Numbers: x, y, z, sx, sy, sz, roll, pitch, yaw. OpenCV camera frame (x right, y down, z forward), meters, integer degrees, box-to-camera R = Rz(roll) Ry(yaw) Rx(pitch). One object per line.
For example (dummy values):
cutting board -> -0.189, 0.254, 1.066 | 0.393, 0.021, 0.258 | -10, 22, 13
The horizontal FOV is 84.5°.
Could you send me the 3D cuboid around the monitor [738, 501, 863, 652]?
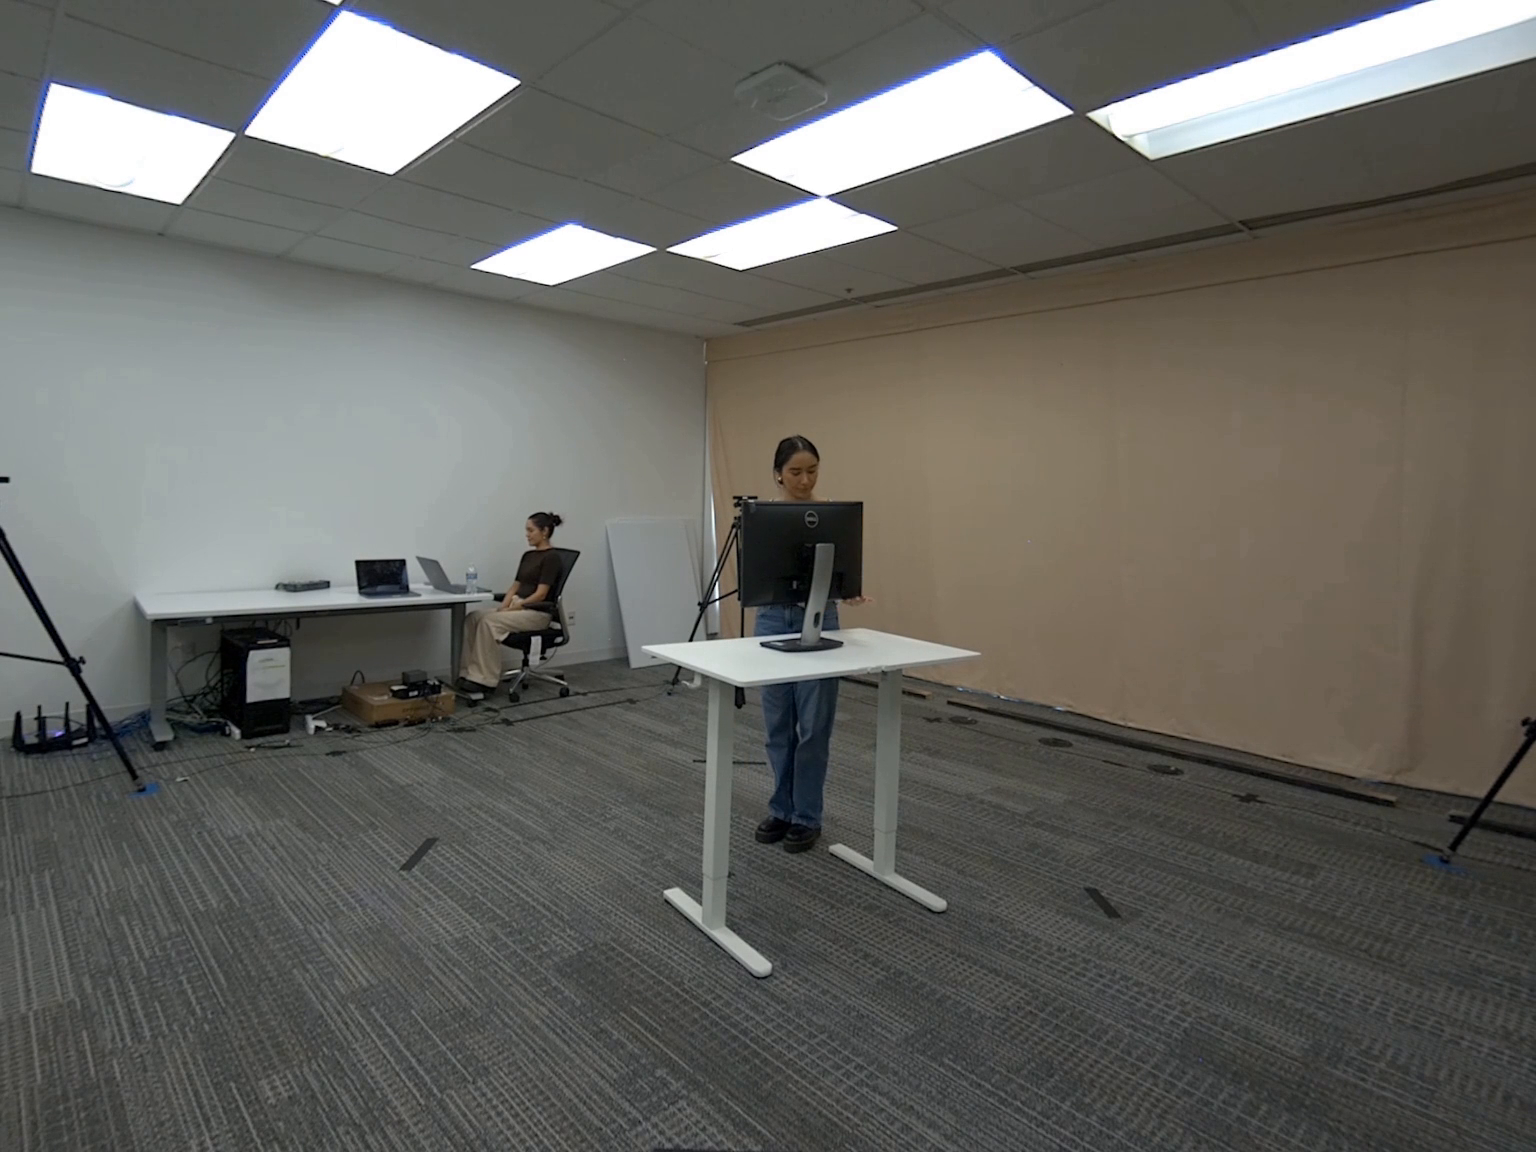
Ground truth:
monitor -> 0.136, 0.003, 2.892 | 0.527, 0.523, 0.191 | -3, 0, -38
